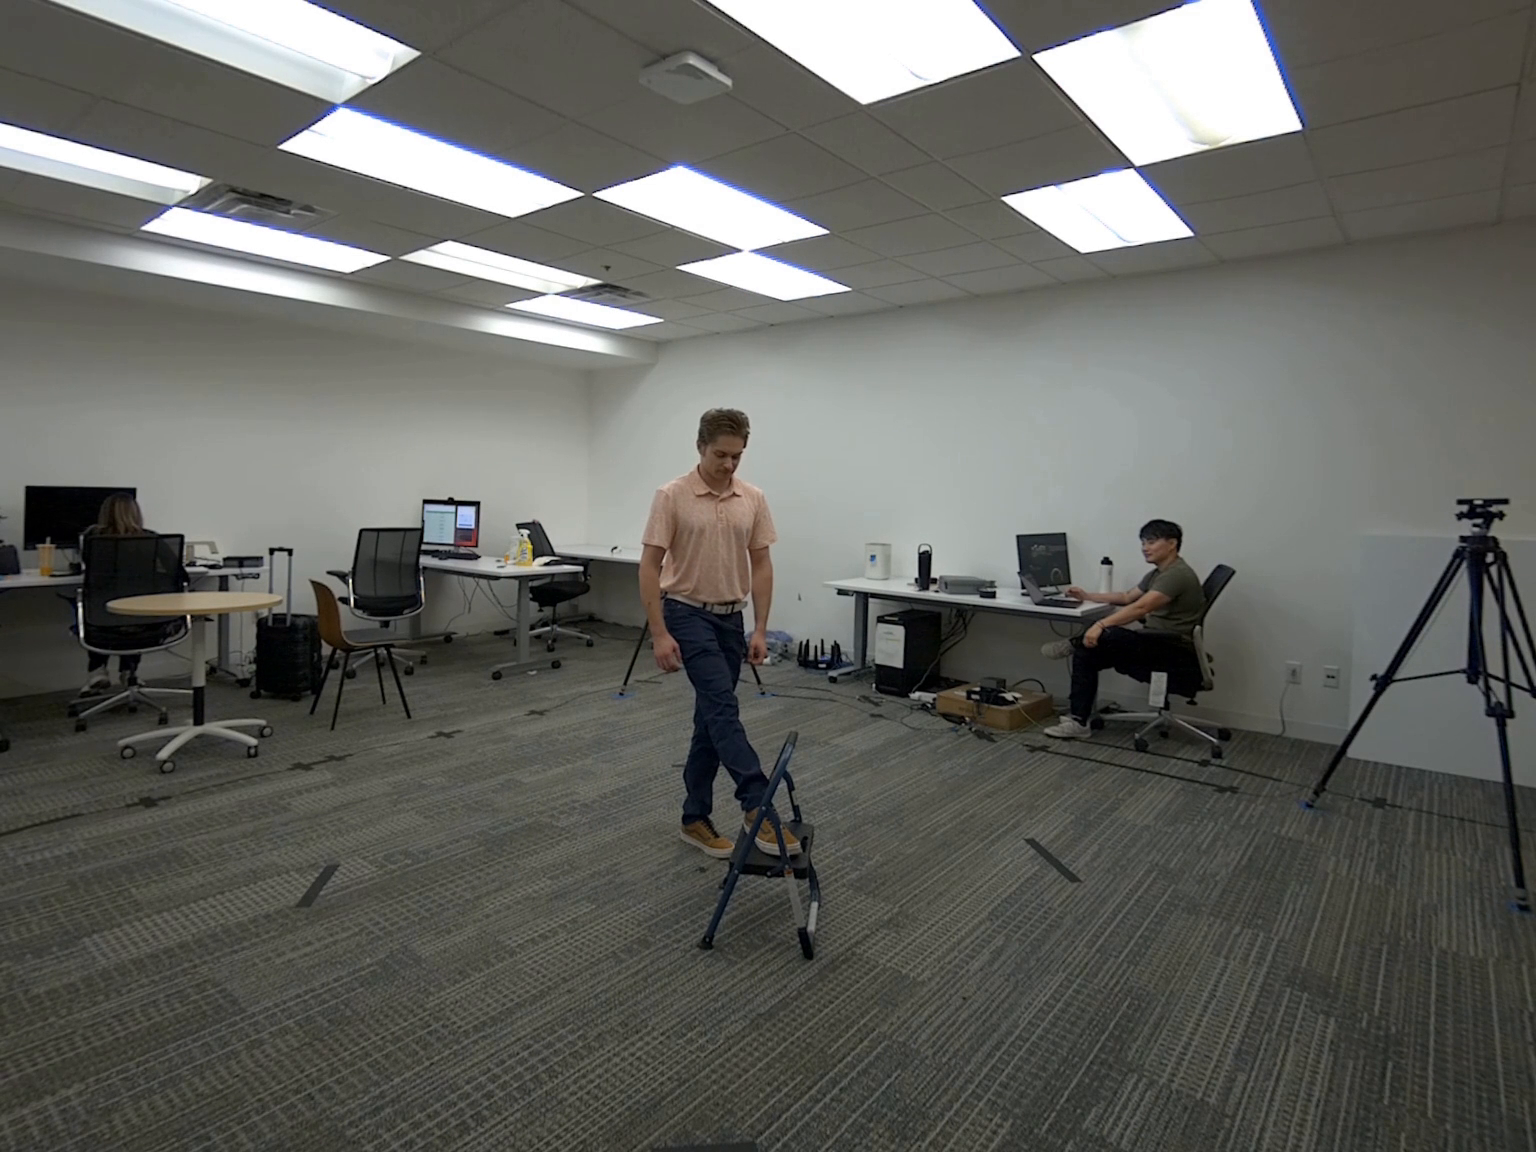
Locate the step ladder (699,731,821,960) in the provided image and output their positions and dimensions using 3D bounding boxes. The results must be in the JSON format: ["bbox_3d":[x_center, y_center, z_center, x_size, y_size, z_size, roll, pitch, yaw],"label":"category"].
[{"bbox_3d":[-0.010,0.810,2.732,0.352,0.604,0.428,2,4,7],"label":"step ladder"}]
